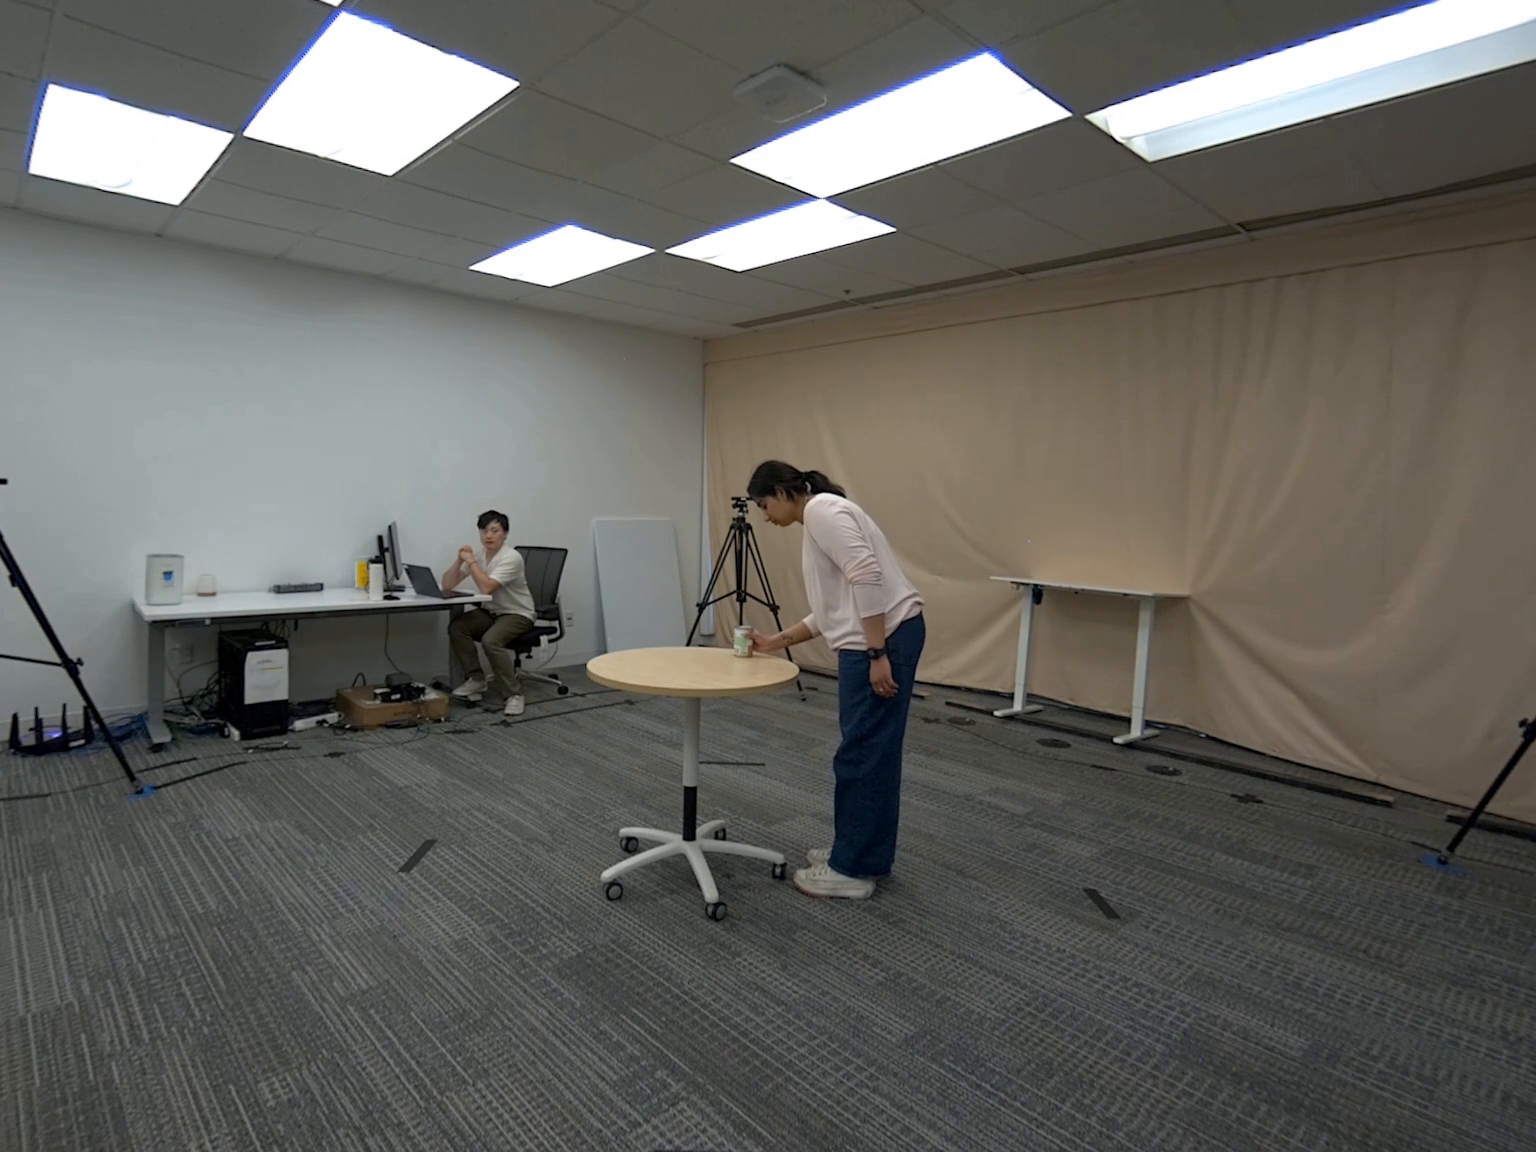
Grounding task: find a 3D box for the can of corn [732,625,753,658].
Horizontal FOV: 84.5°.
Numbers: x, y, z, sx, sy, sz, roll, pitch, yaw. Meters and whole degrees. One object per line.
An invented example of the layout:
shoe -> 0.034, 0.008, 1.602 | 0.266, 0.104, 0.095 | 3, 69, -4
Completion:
can of corn -> -0.093, 0.259, 3.257 | 0.074, 0.111, 0.074 | 4, 3, -2
